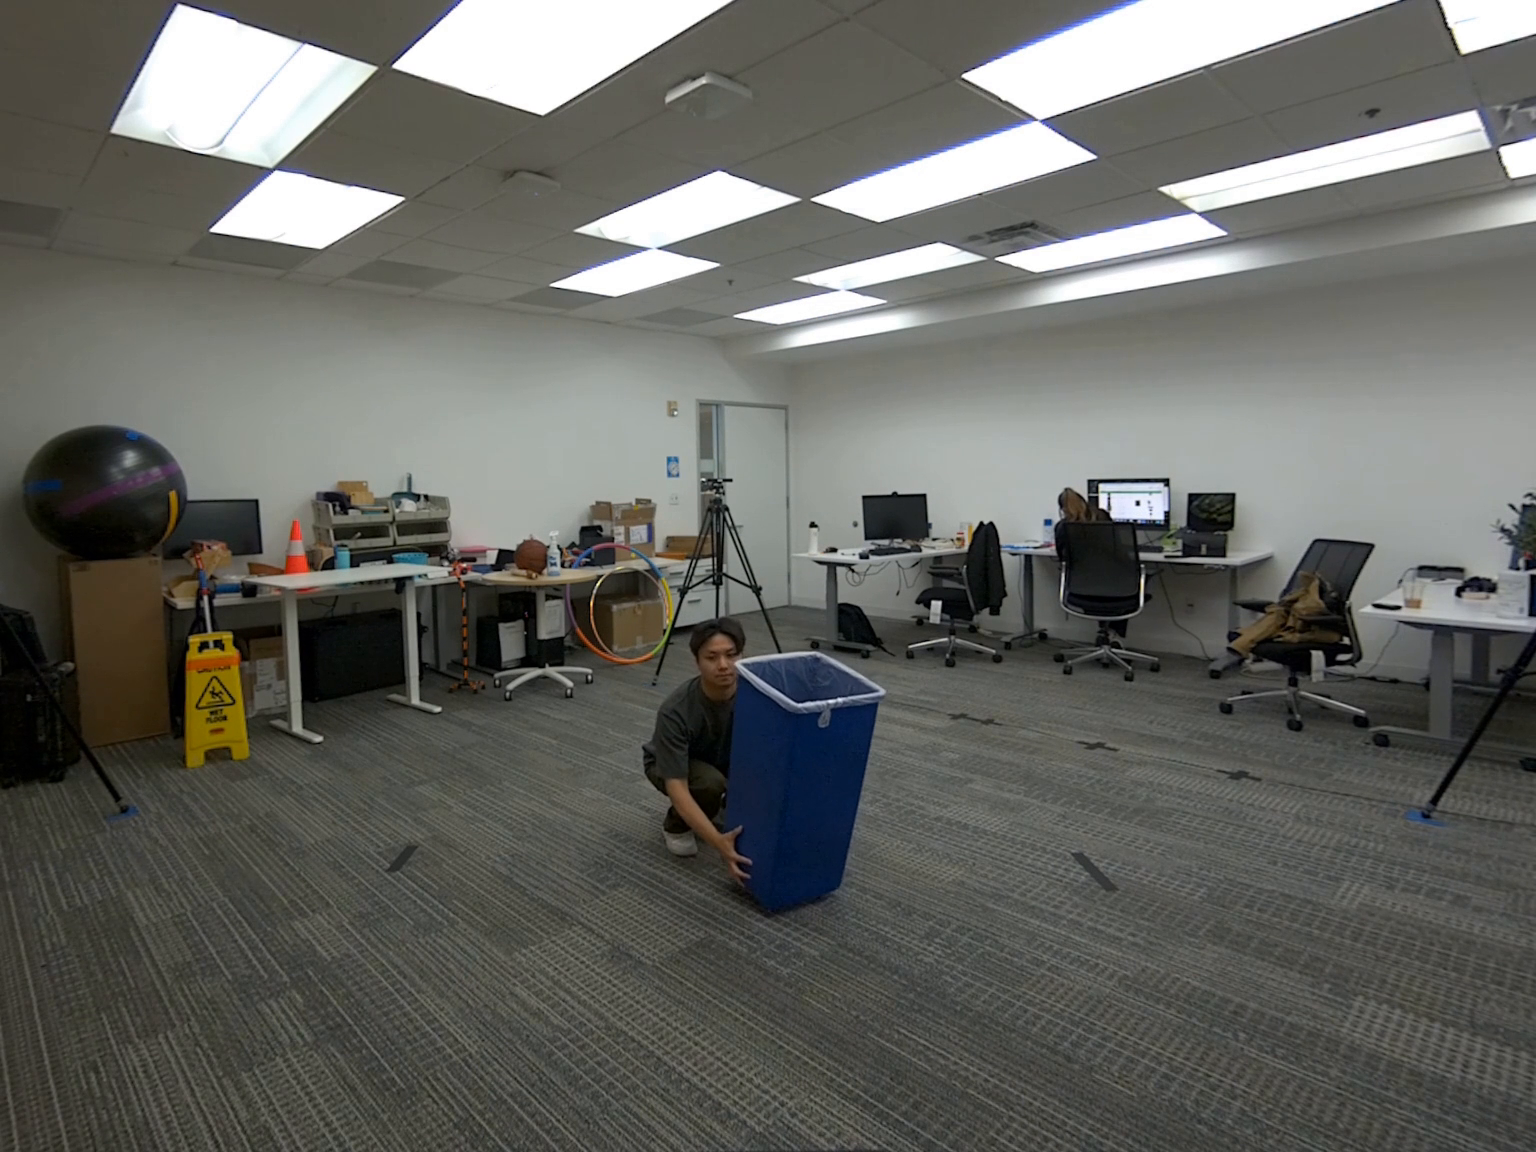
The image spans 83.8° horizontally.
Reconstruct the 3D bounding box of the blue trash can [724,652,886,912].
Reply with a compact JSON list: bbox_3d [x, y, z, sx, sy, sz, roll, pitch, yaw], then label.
[{"bbox_3d":[0.091,0.659,2.818,0.365,0.706,0.392,-2,16,-32],"label":"blue trash can"}]
